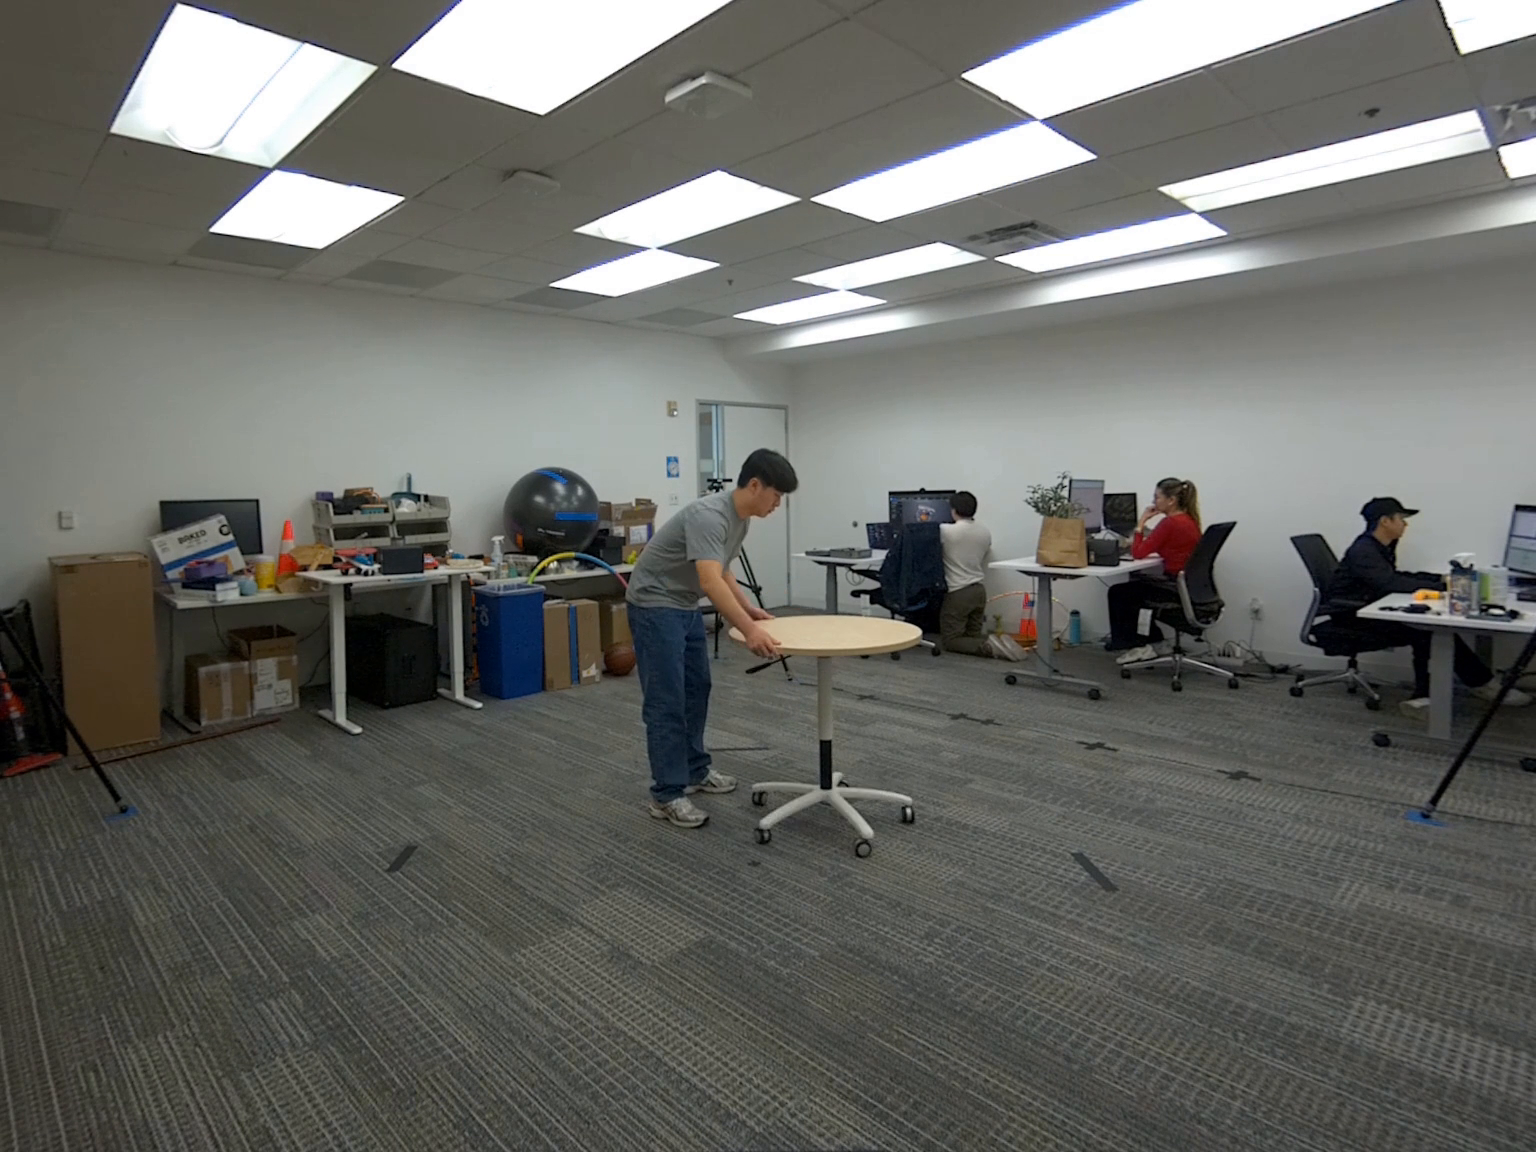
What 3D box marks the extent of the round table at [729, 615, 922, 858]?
[{"bbox_3d":[0.232,0.611,3.453,0.763,0.791,0.768,-1,5,-2],"label":"round table"}]
